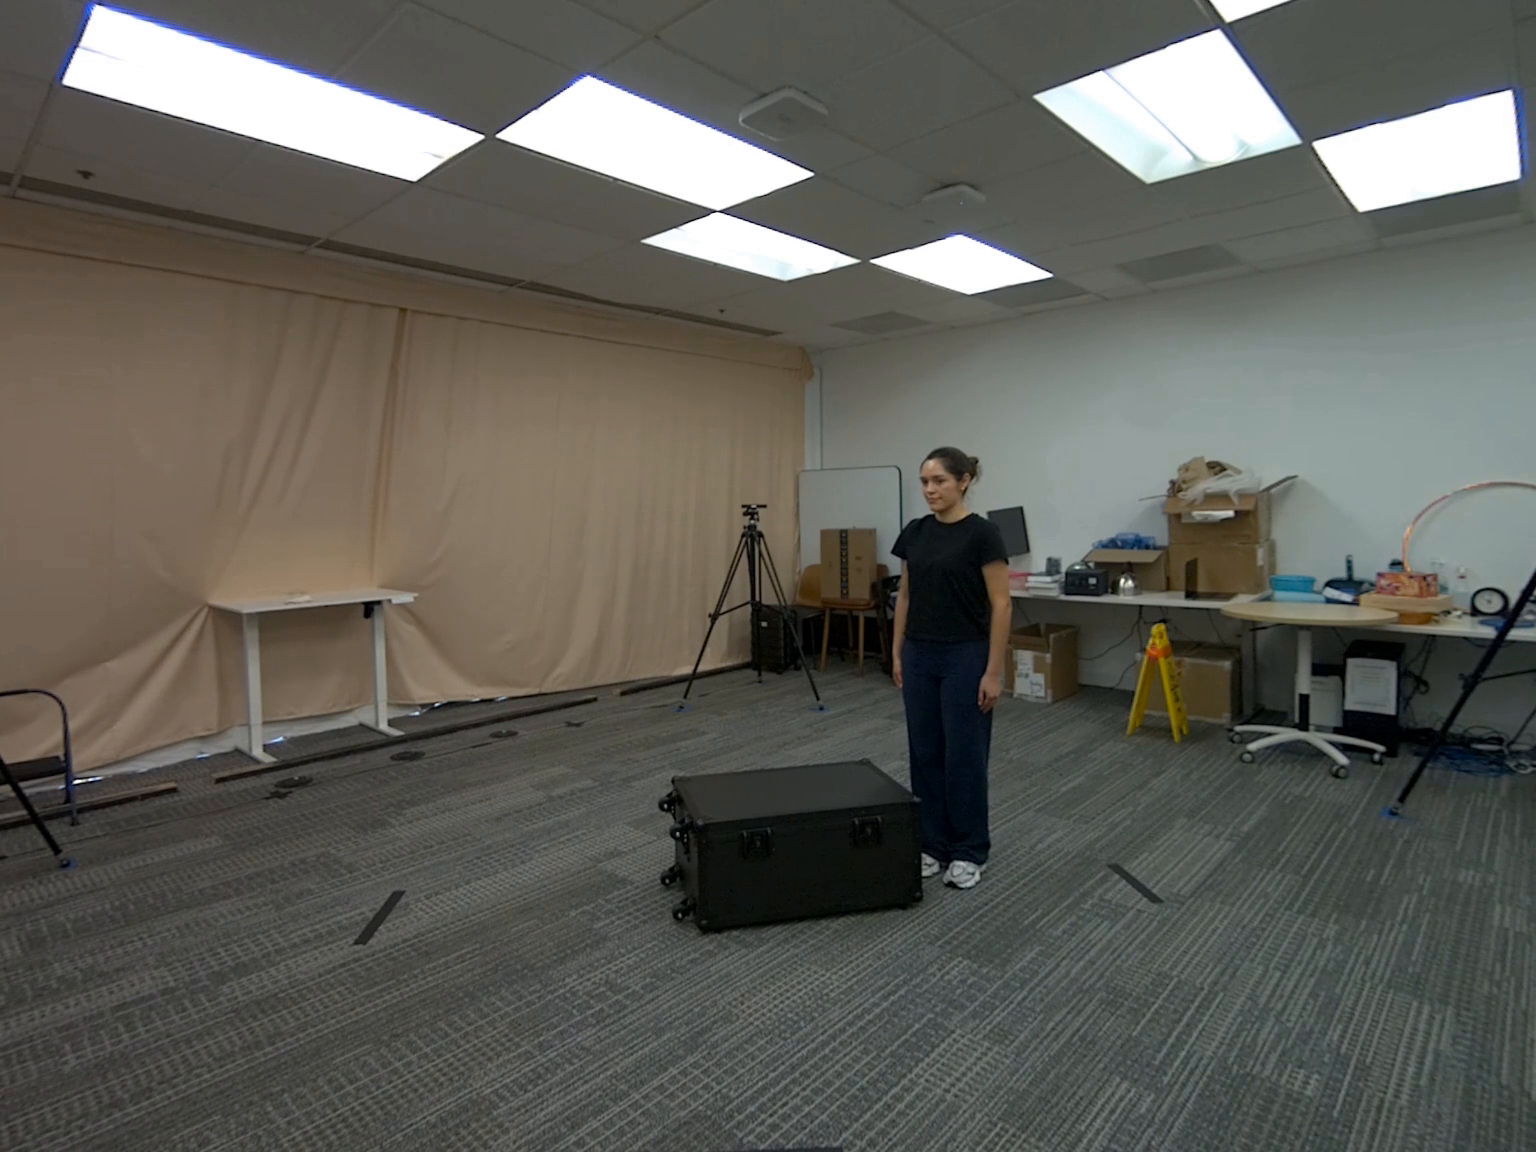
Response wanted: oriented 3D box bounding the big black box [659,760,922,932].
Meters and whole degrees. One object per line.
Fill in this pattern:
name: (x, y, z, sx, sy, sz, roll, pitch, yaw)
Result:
big black box: (0.066, 0.941, 3.012, 0.849, 0.395, 0.530, -2, 4, -14)
